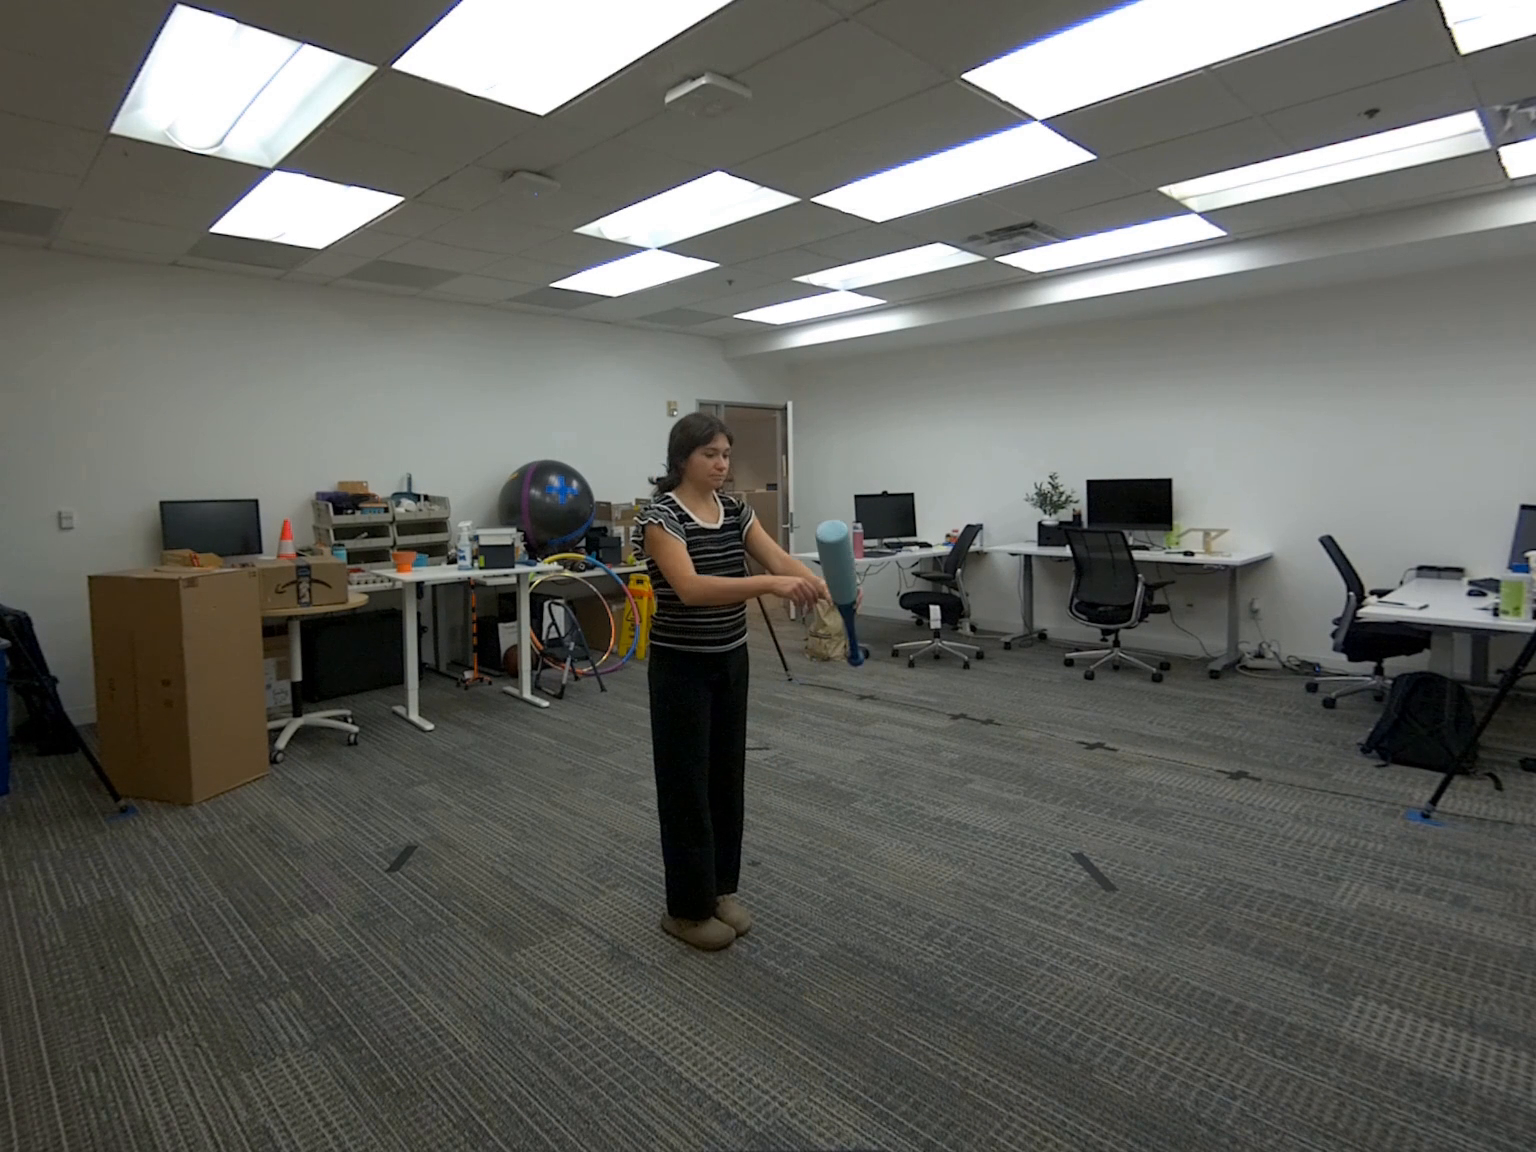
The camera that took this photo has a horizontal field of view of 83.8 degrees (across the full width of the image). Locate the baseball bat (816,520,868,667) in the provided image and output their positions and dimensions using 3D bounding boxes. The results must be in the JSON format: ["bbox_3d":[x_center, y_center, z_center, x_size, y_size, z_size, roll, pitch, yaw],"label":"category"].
[{"bbox_3d":[0.198,0.072,2.310,0.089,0.525,0.091,-8,44,6],"label":"baseball bat"}]
